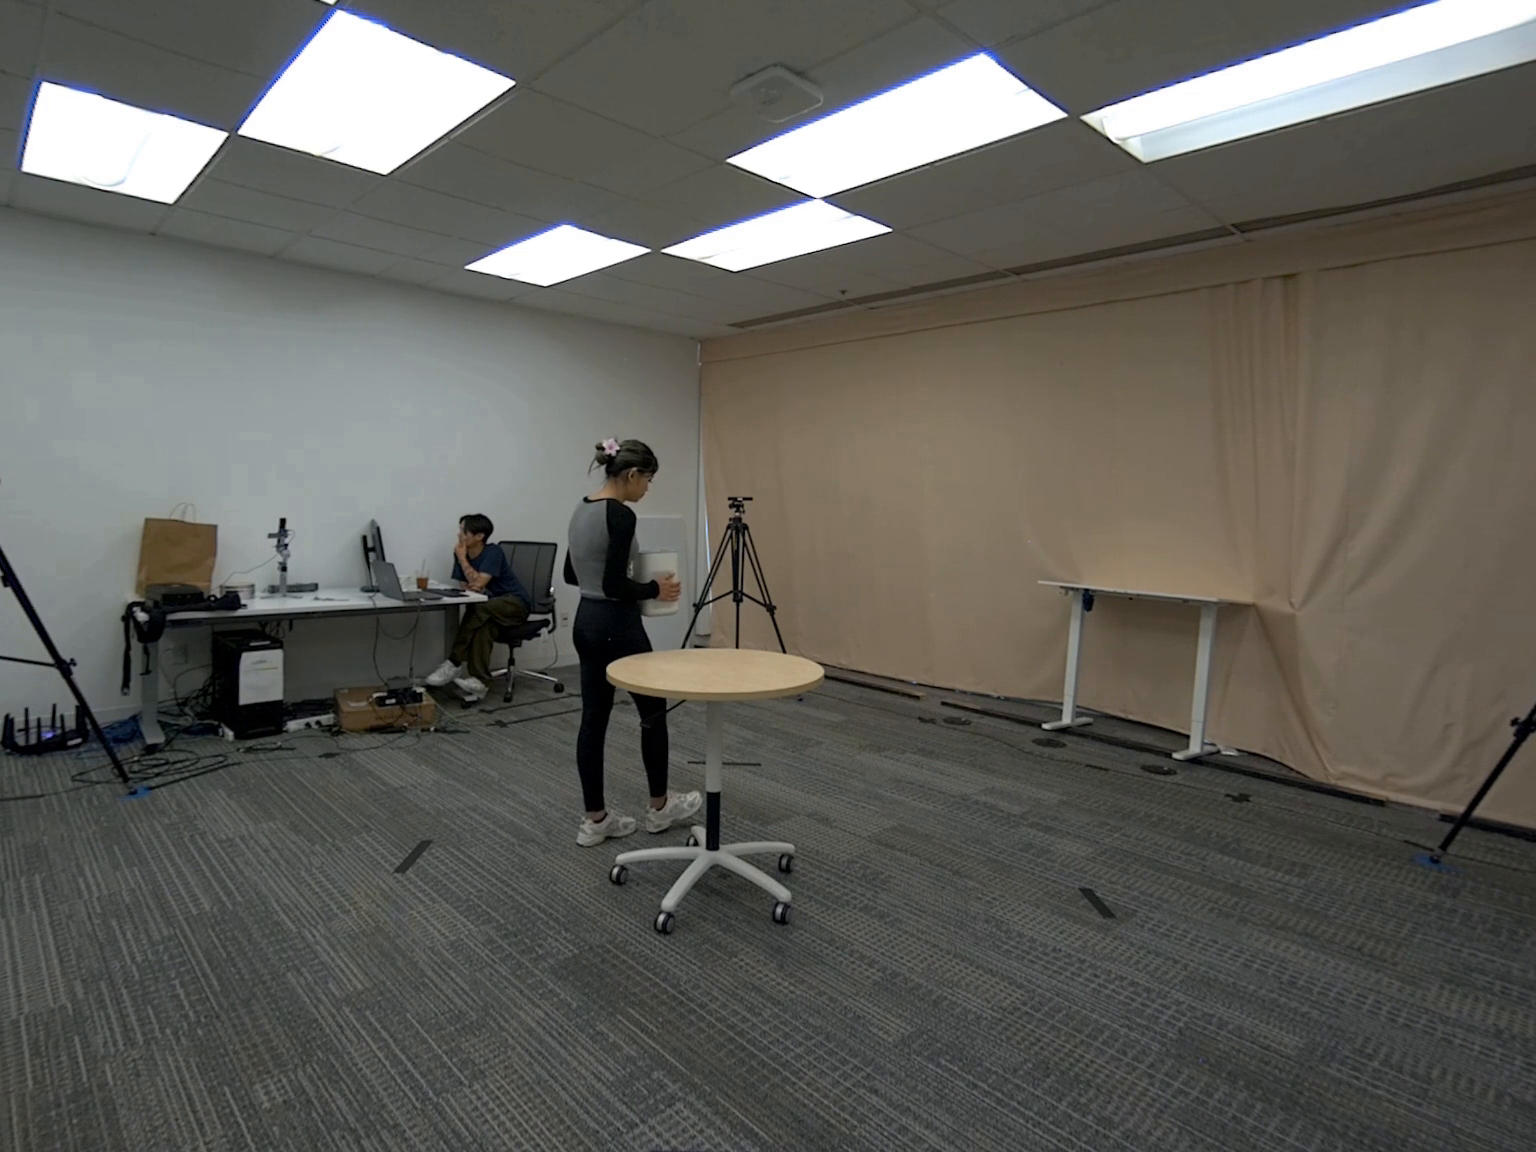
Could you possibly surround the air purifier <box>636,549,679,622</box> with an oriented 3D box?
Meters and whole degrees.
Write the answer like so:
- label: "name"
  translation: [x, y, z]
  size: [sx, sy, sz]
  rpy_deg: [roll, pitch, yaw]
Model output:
- label: "air purifier"
  translation: [-0.485, 0.031, 3.459]
  size: [0.168, 0.264, 0.175]
  rpy_deg: [-4, 6, -26]
